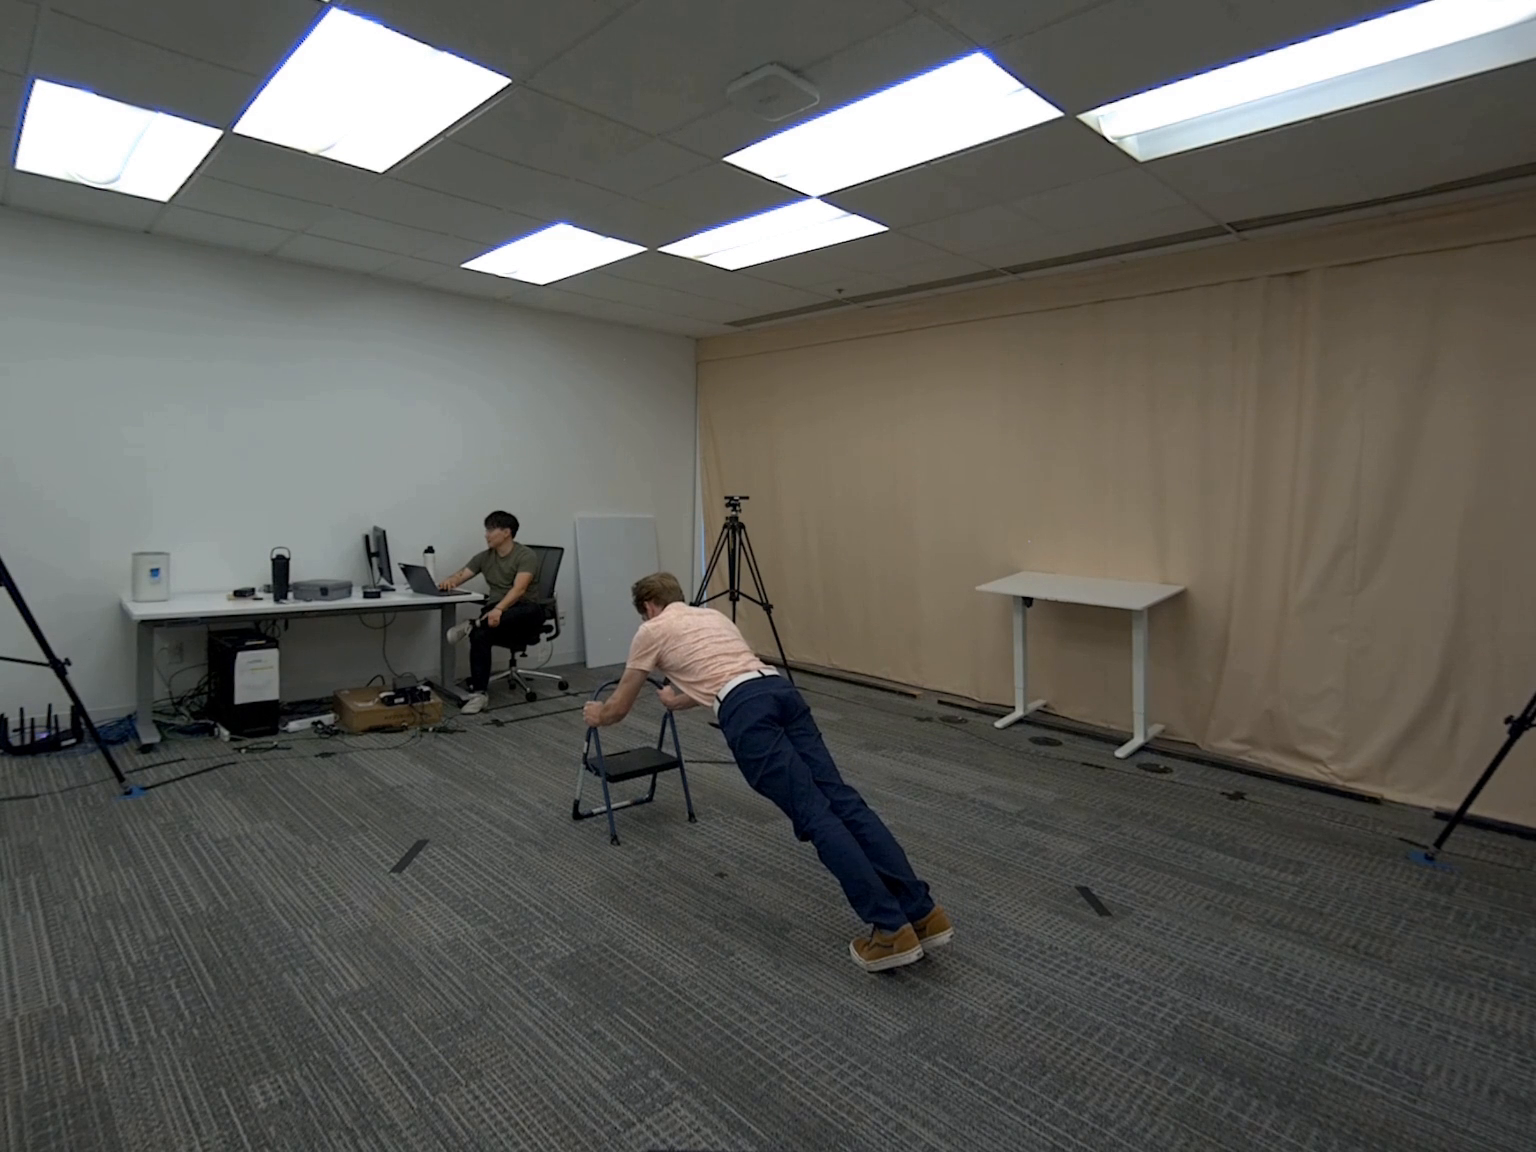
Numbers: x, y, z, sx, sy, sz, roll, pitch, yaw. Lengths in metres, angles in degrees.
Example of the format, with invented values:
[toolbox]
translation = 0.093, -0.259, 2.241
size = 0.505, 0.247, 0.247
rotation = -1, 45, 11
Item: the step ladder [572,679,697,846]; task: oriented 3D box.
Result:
[step ladder]
translation = -0.573, 0.750, 3.593
size = 0.421, 0.605, 0.358
rotation = -2, 4, -43
